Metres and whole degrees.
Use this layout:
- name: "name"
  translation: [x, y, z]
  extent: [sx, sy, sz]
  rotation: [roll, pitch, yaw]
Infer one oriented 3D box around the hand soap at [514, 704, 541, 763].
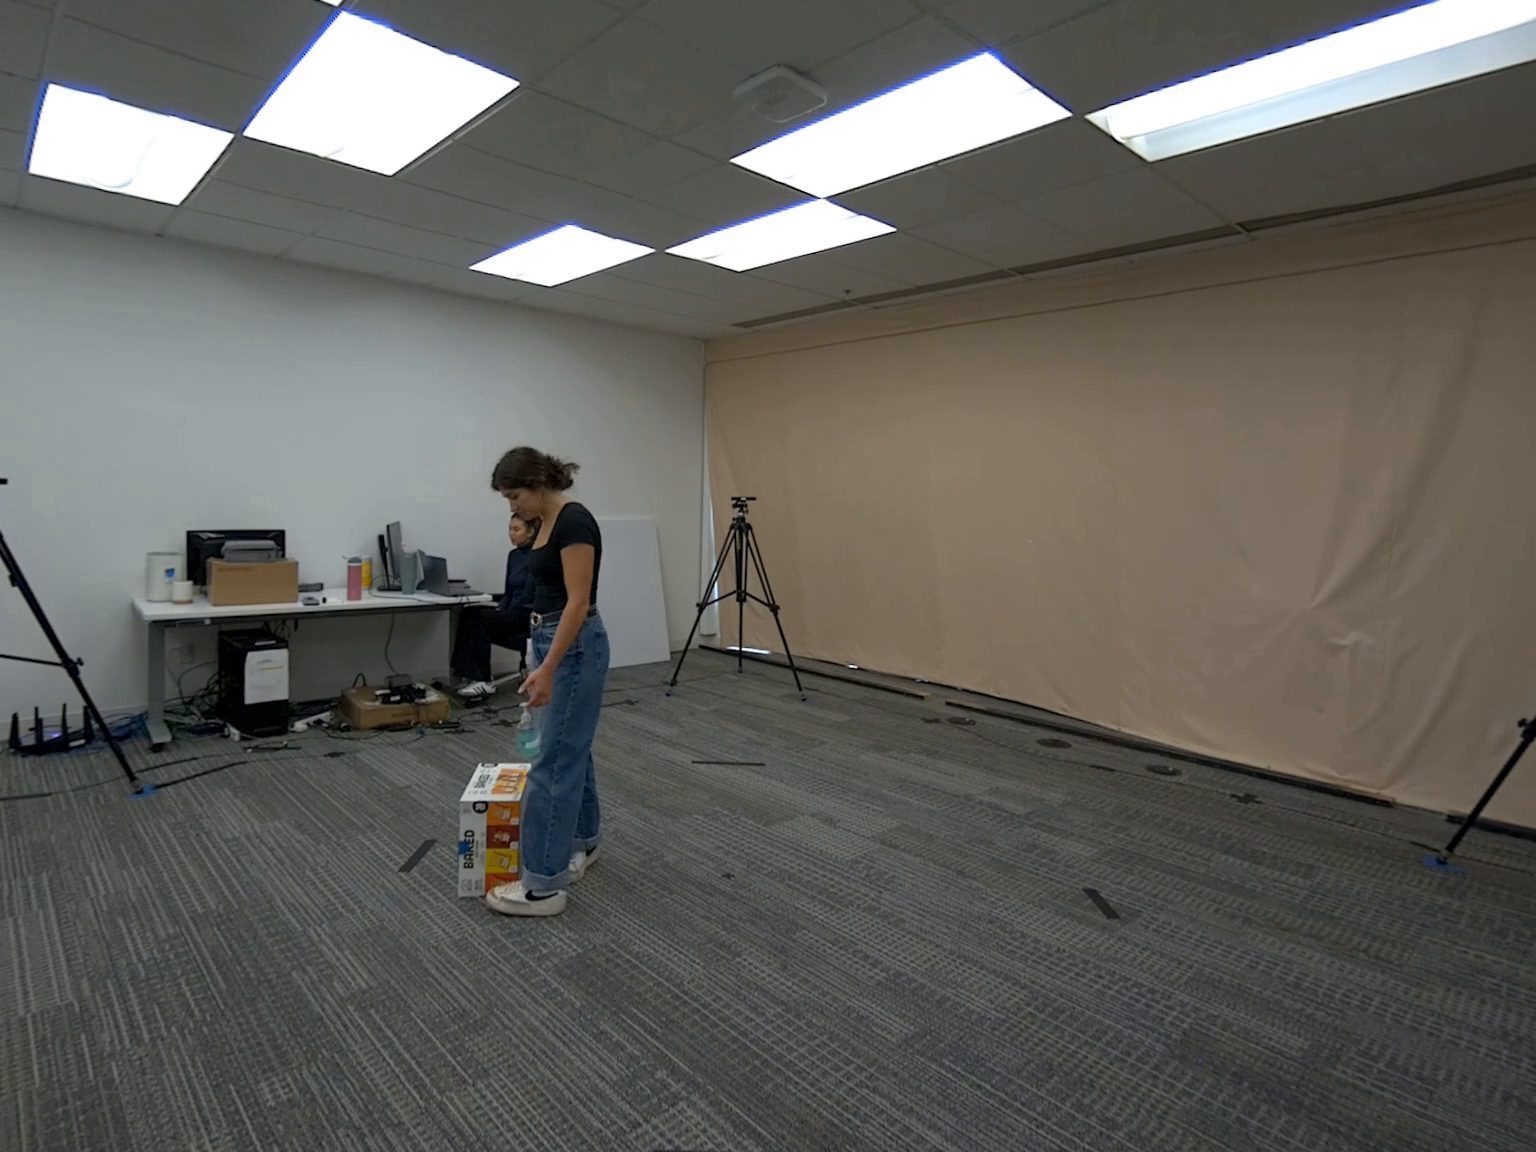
- name: "hand soap"
  translation: [-0.793, 0.495, 2.692]
  extent: [0.083, 0.168, 0.044]
  rotation: [-4, -1, -39]
